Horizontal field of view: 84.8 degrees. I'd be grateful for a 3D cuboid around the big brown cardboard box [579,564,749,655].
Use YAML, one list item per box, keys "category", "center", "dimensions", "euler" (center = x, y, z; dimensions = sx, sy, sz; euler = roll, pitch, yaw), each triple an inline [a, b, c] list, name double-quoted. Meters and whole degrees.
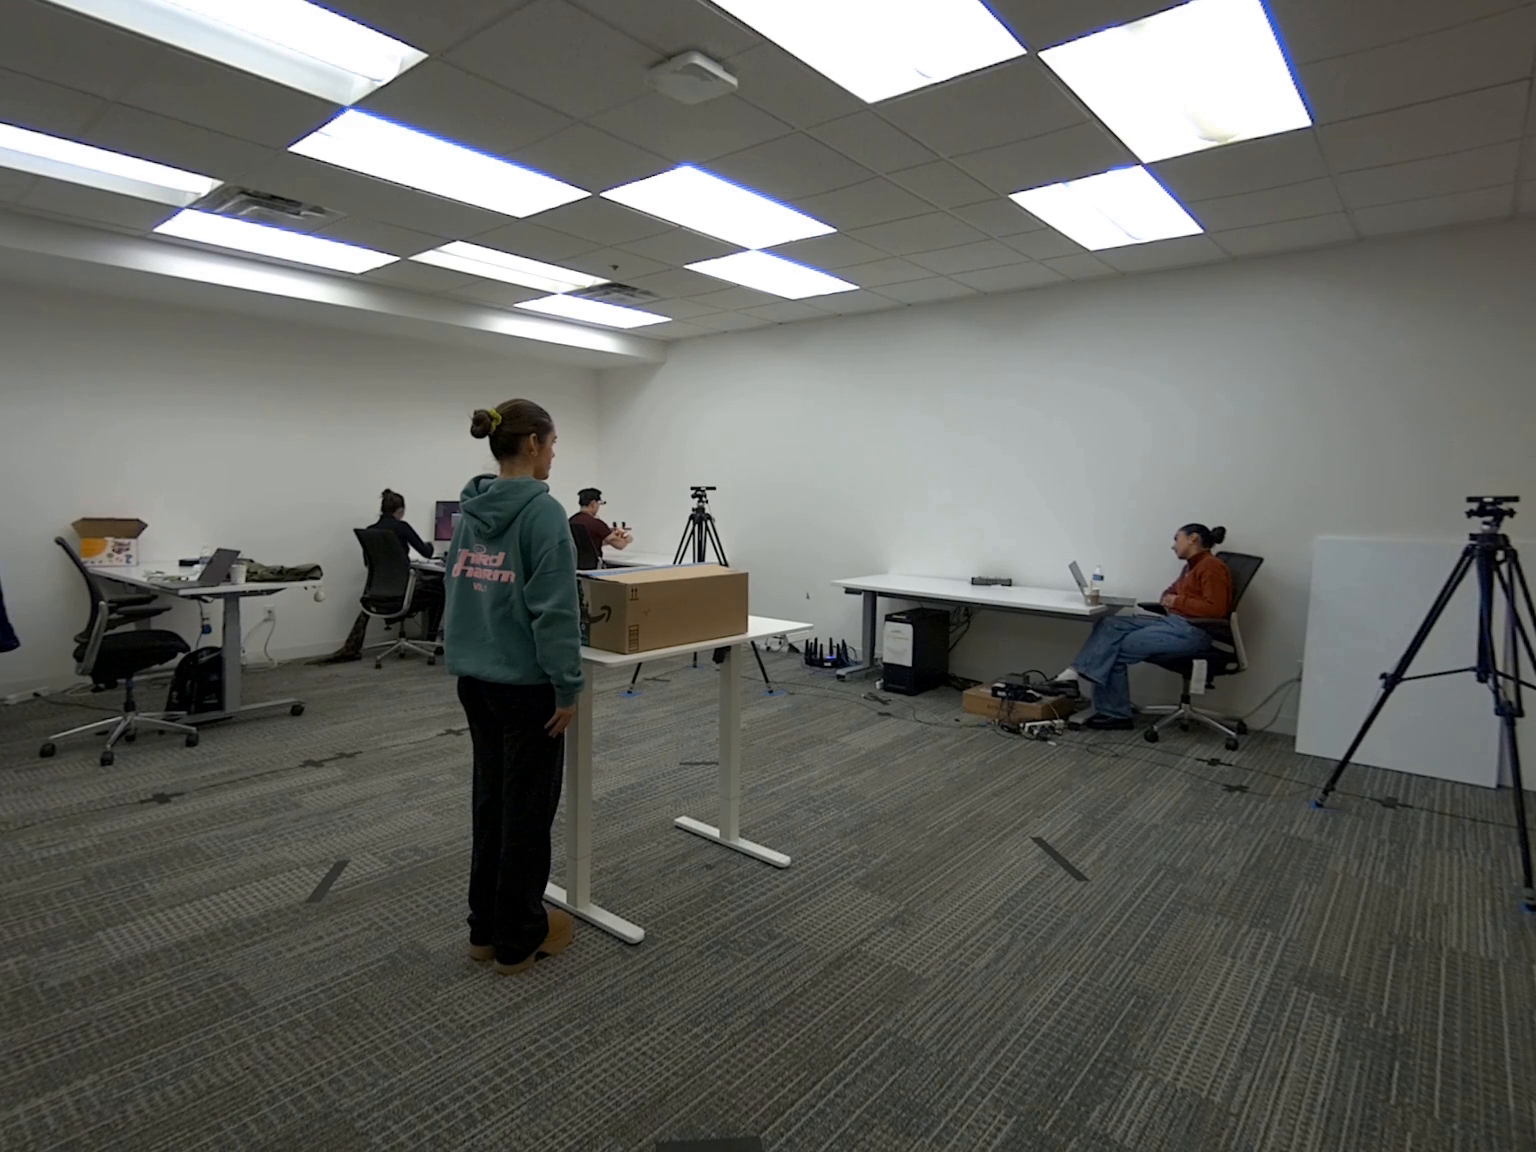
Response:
- category: "big brown cardboard box"
  center: [-0.408, 0.092, 2.895]
  dimensions: [0.432, 0.232, 0.572]
  euler: [5, 7, 40]
